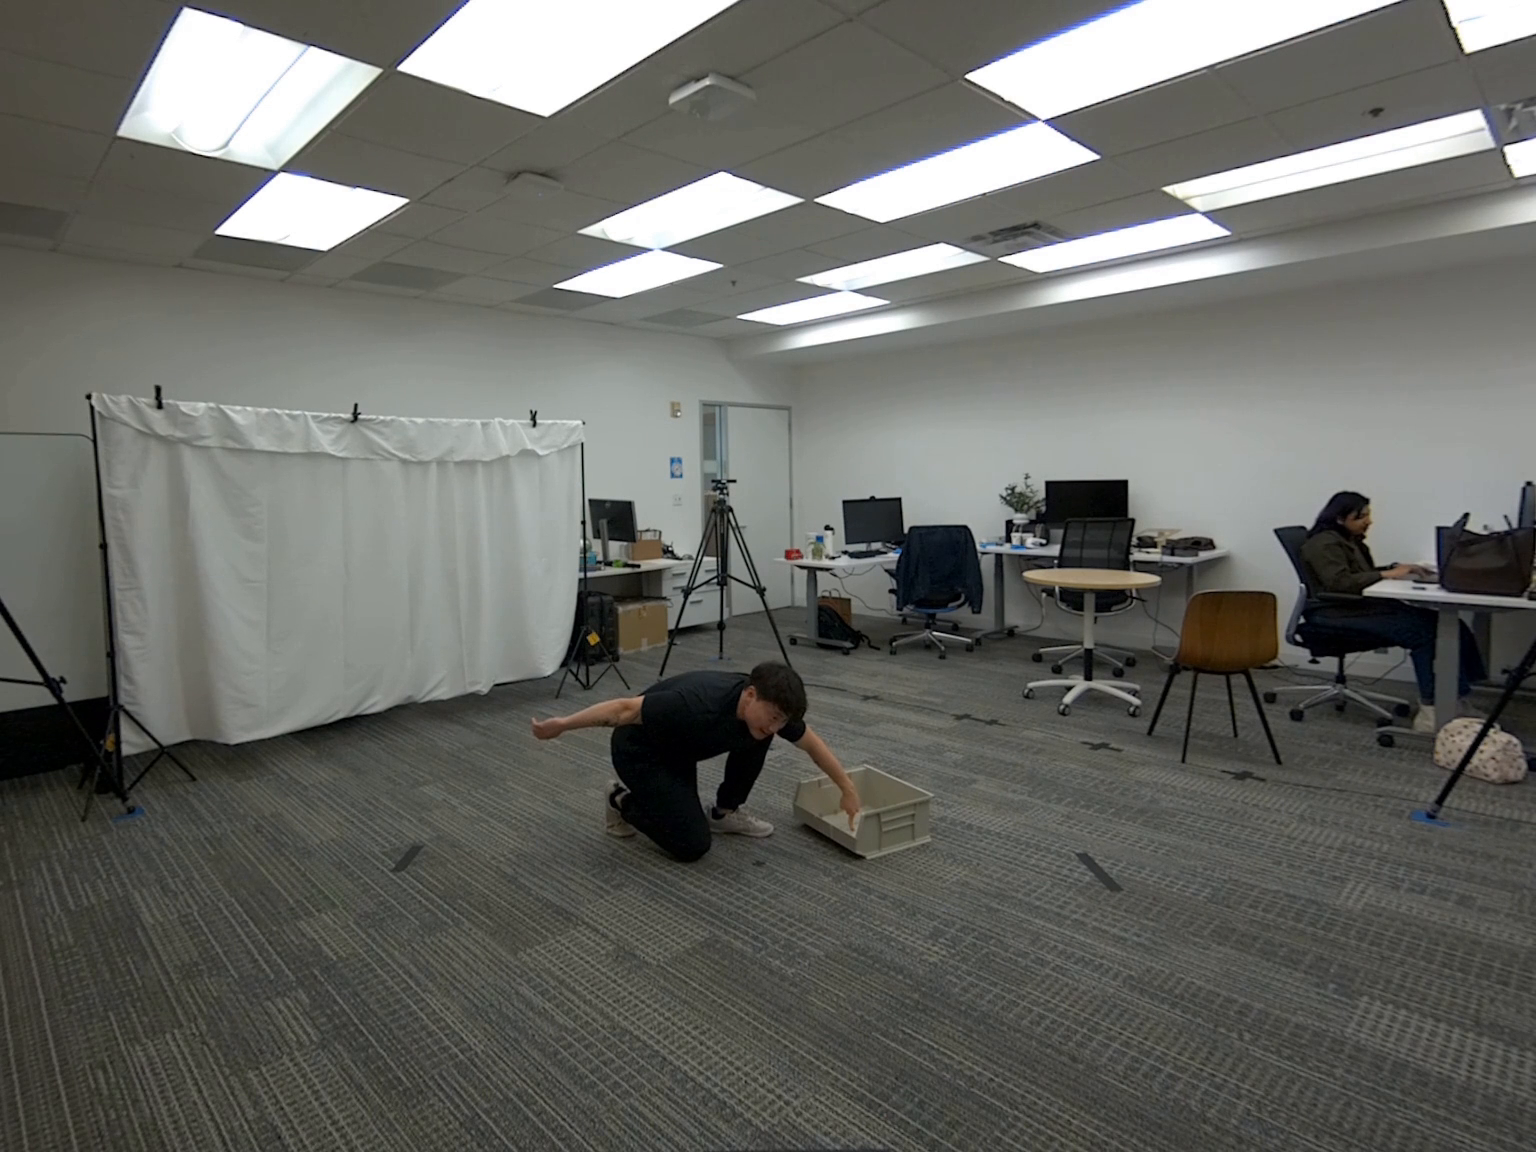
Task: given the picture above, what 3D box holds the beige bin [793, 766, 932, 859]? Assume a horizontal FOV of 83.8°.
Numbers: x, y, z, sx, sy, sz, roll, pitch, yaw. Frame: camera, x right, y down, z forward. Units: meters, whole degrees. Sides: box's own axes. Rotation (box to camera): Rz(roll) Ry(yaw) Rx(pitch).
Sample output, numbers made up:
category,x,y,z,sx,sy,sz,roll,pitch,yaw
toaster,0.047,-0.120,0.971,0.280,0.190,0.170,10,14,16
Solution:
category,x,y,z,sx,sy,sz,roll,pitch,yaw
beige bin,0.364,0.917,3.357,0.368,0.188,0.434,-4,6,-31
